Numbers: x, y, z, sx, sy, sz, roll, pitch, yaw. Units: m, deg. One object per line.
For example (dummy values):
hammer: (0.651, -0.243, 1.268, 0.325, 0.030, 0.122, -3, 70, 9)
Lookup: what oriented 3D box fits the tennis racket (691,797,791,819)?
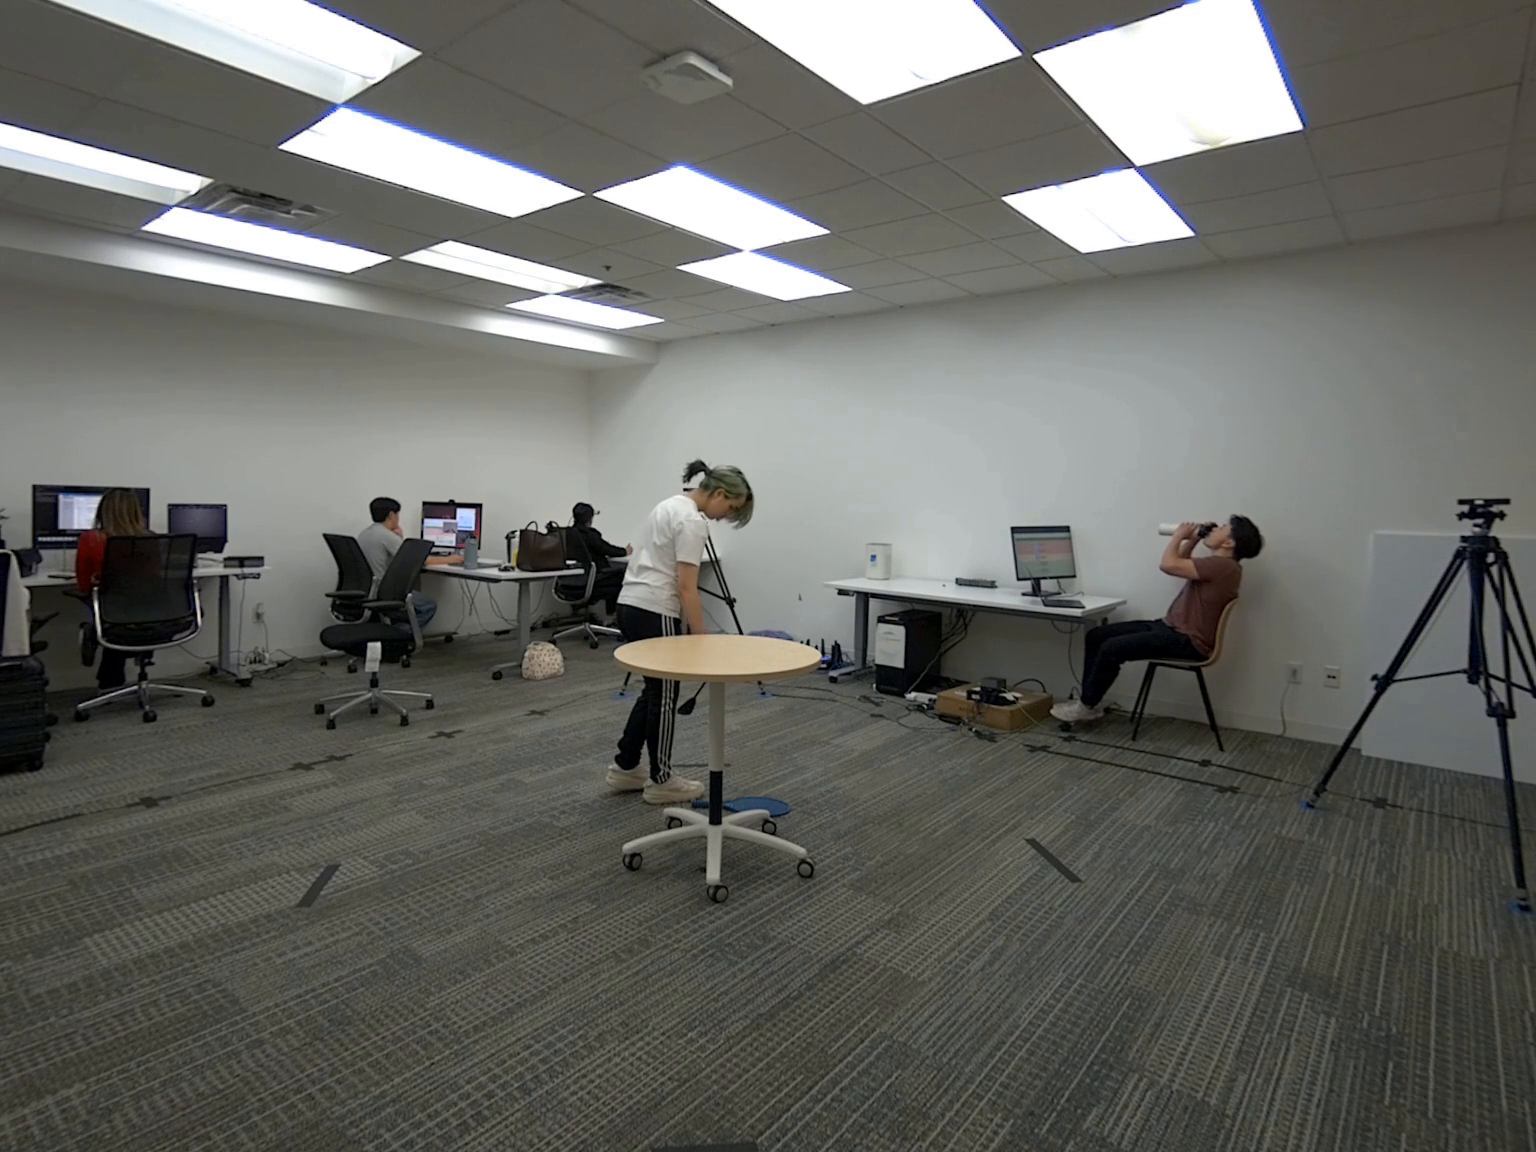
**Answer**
tennis racket: (-0.129, 0.997, 3.714, 0.432, 0.031, 0.215, 3, 5, -1)
